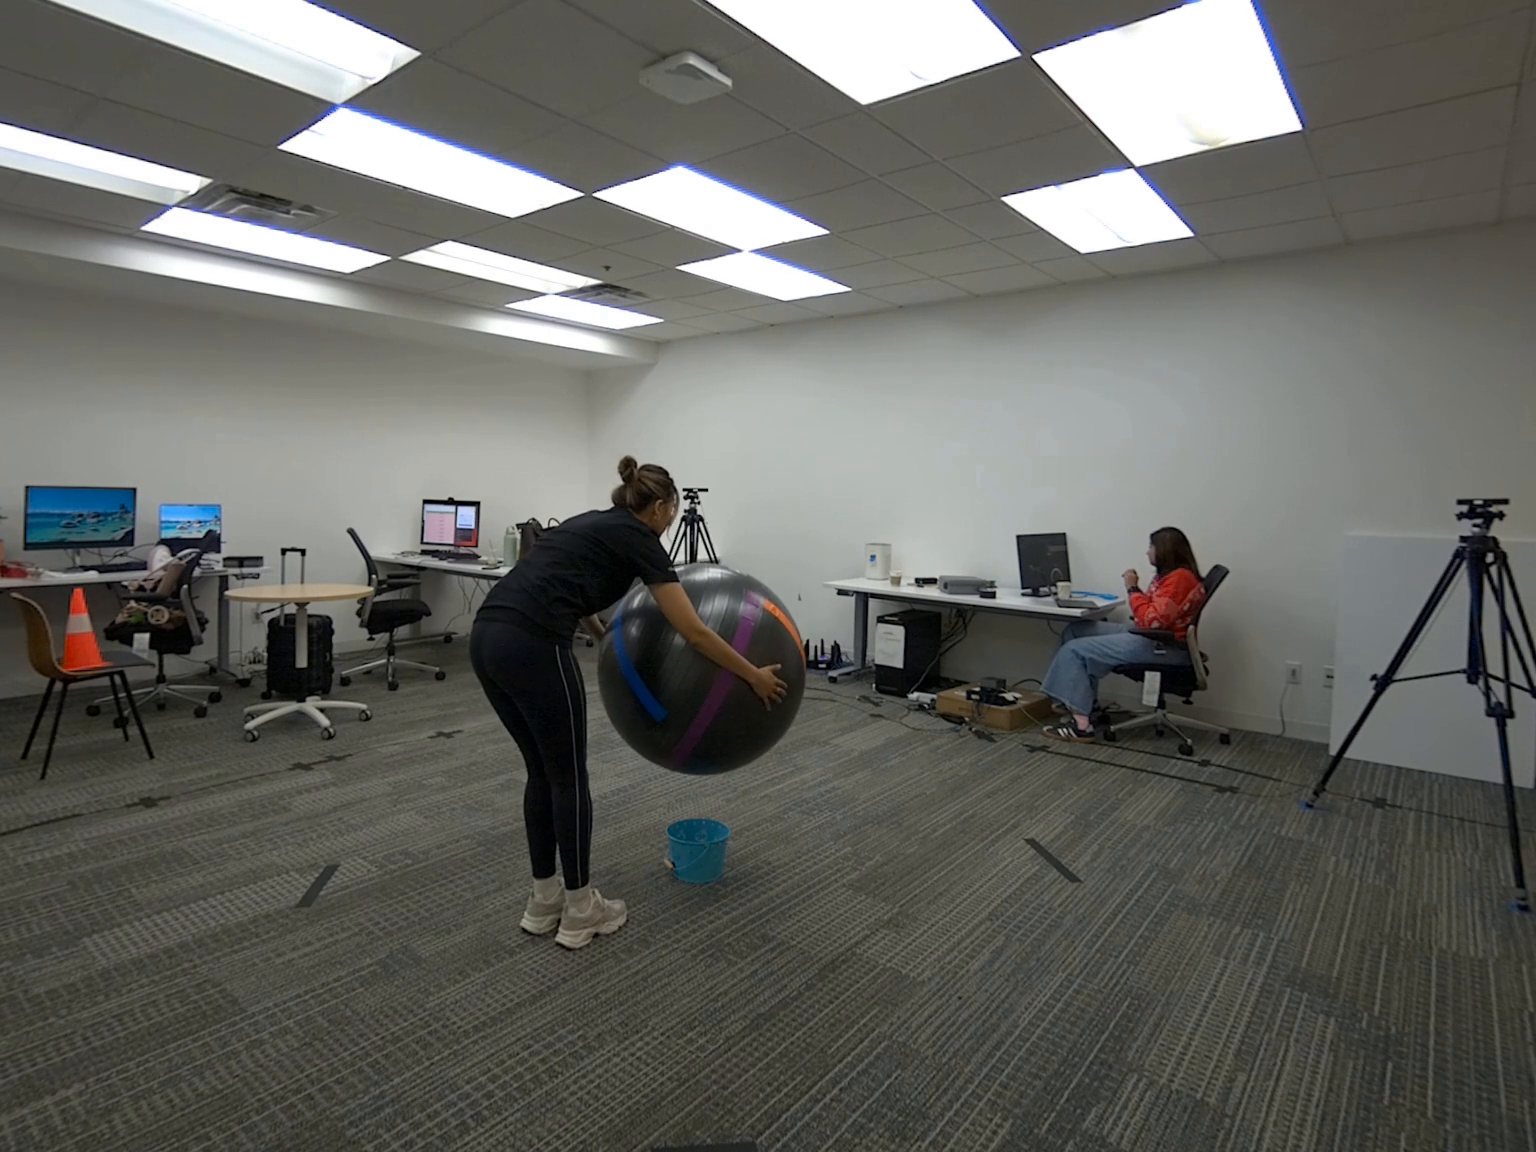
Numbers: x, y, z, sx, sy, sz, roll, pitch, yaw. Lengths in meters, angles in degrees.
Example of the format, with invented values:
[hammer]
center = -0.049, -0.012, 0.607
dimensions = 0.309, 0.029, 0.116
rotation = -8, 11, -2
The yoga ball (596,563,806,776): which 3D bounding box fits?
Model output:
[yoga ball]
center = -0.247, 0.330, 3.105
dimensions = 0.757, 0.756, 0.762
rotation = 1, 4, -2
